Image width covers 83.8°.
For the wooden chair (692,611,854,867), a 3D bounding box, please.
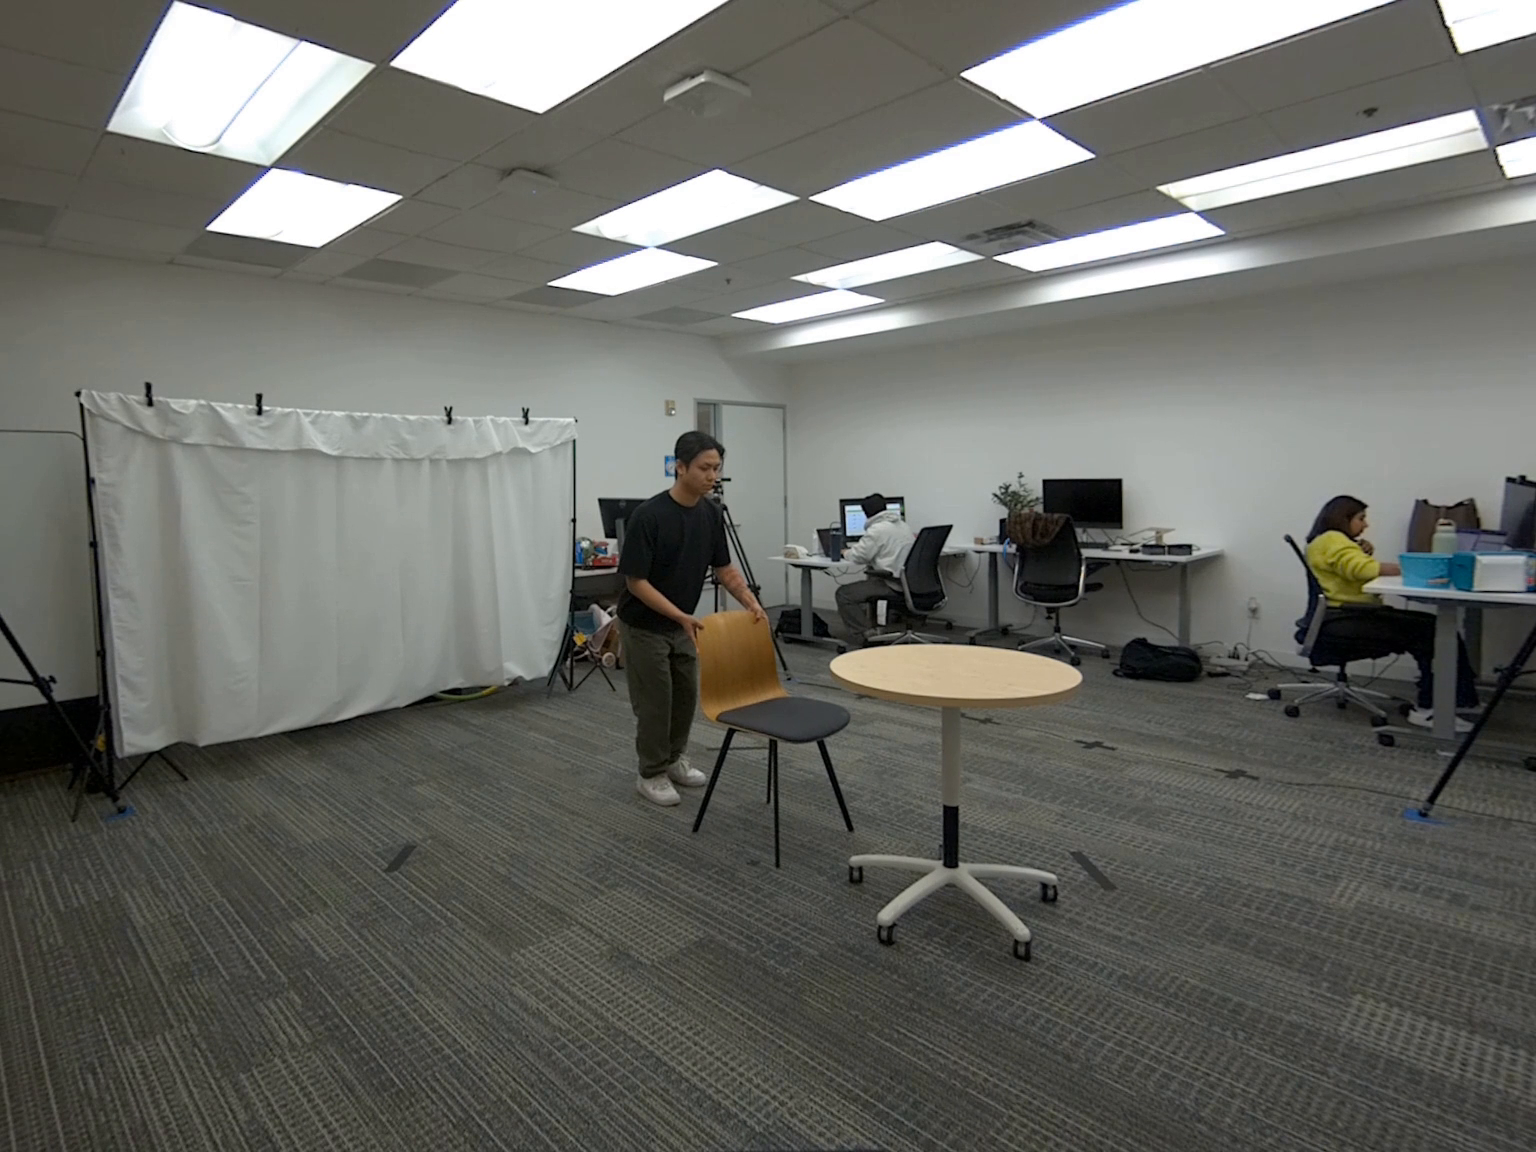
[{"bbox_3d":[0.020,0.587,3.335,0.538,0.877,0.465,-2,1,44],"label":"wooden chair"}]
